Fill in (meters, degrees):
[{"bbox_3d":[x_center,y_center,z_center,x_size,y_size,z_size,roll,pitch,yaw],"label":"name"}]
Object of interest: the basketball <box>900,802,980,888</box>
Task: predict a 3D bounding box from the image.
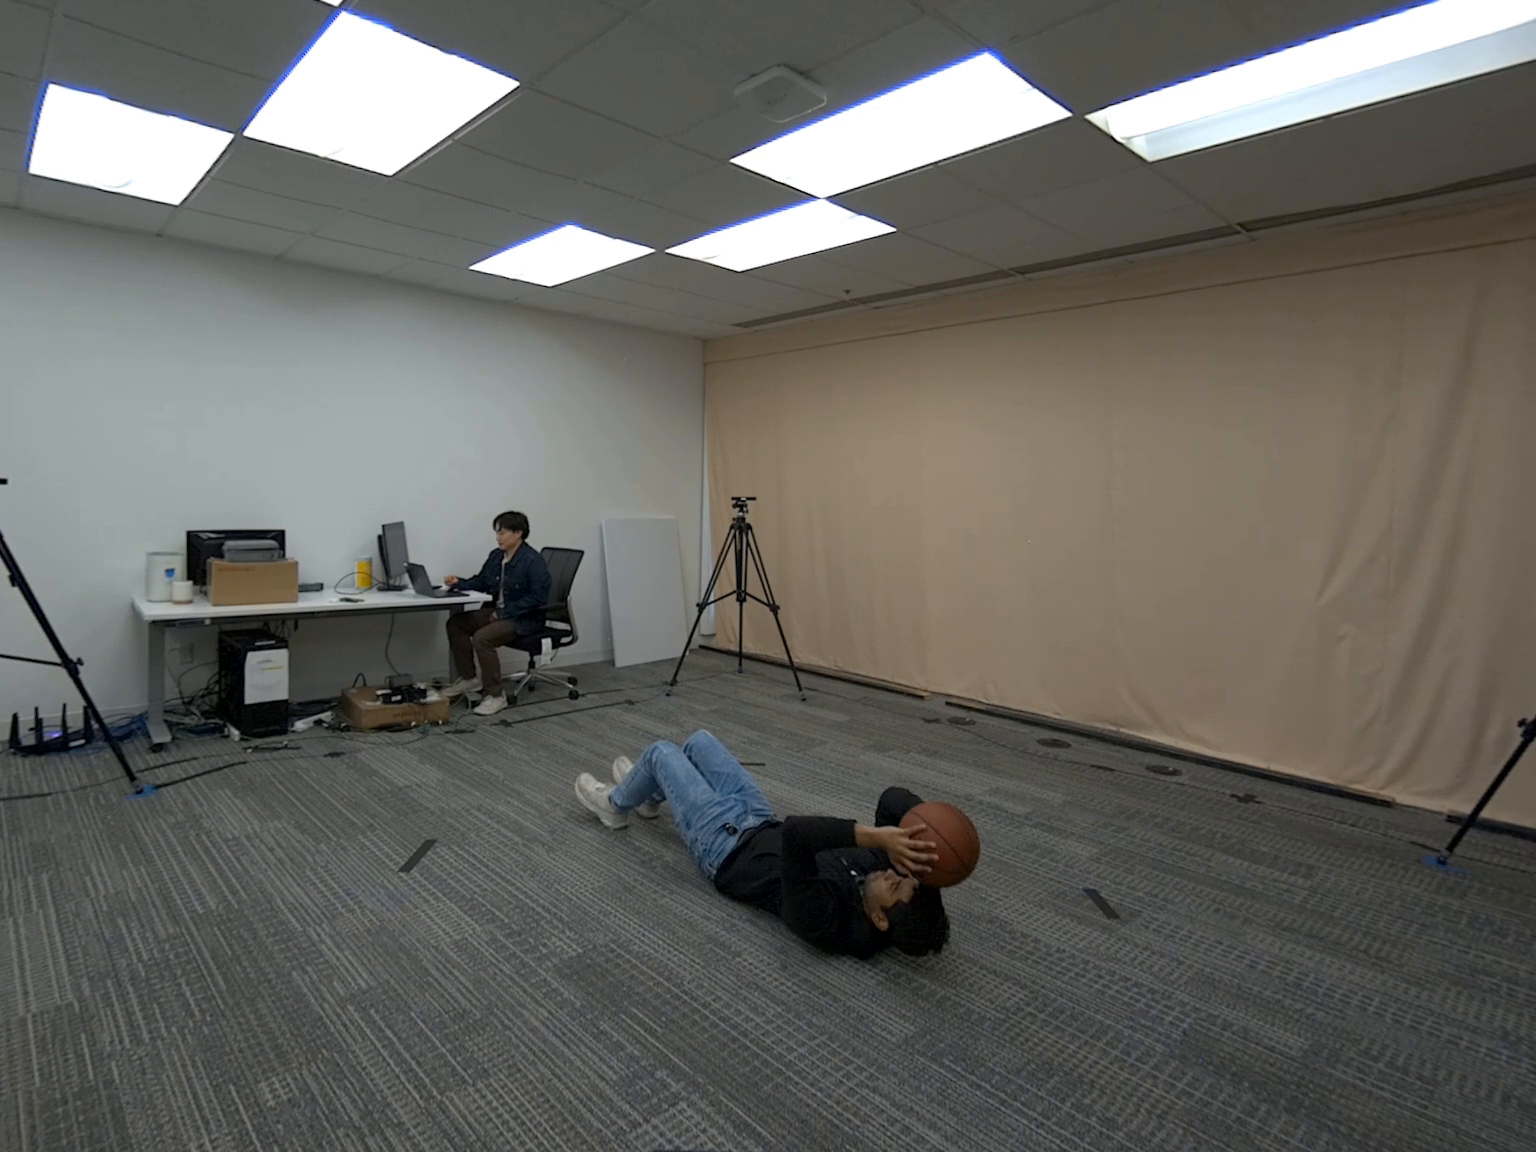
[{"bbox_3d":[0.482,0.778,2.471,0.236,0.235,0.237,1,4,-1],"label":"basketball"}]
